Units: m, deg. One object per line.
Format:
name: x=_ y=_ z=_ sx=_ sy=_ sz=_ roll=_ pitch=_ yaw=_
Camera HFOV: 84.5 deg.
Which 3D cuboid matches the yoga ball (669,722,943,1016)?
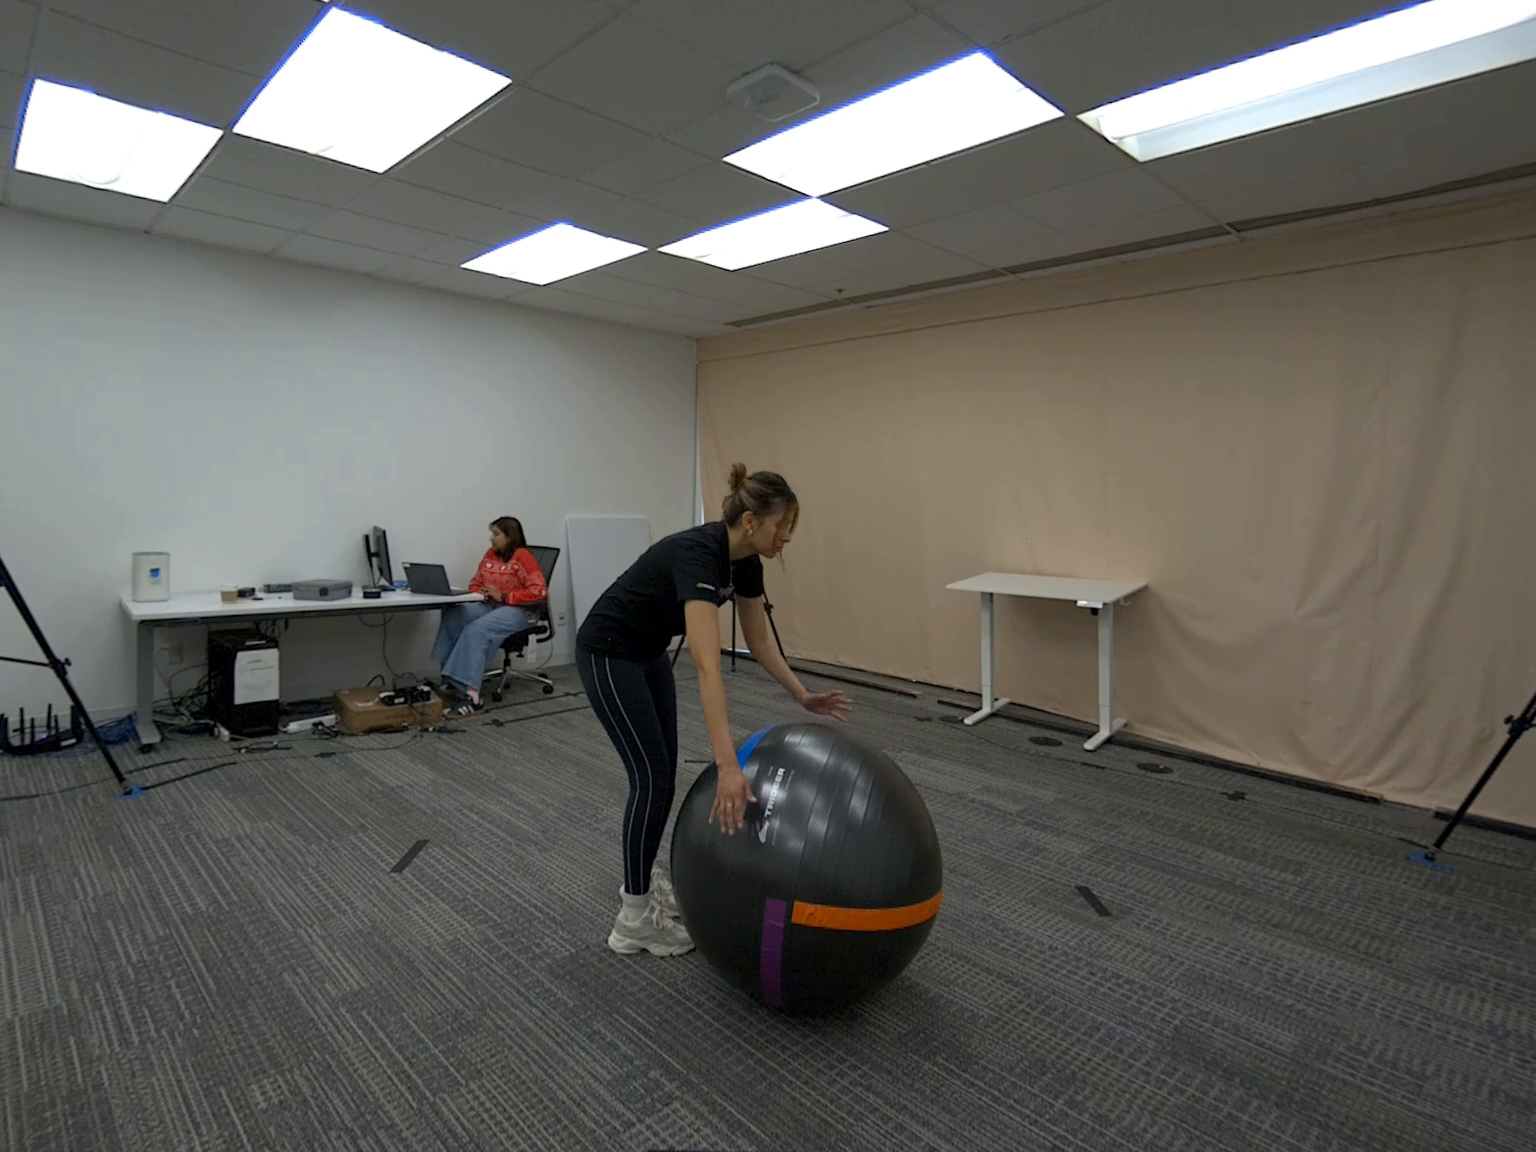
yoga ball: x=0.110 y=0.811 z=2.382 sx=0.757 sy=0.756 sz=0.761 roll=1 pitch=4 yaw=-1
